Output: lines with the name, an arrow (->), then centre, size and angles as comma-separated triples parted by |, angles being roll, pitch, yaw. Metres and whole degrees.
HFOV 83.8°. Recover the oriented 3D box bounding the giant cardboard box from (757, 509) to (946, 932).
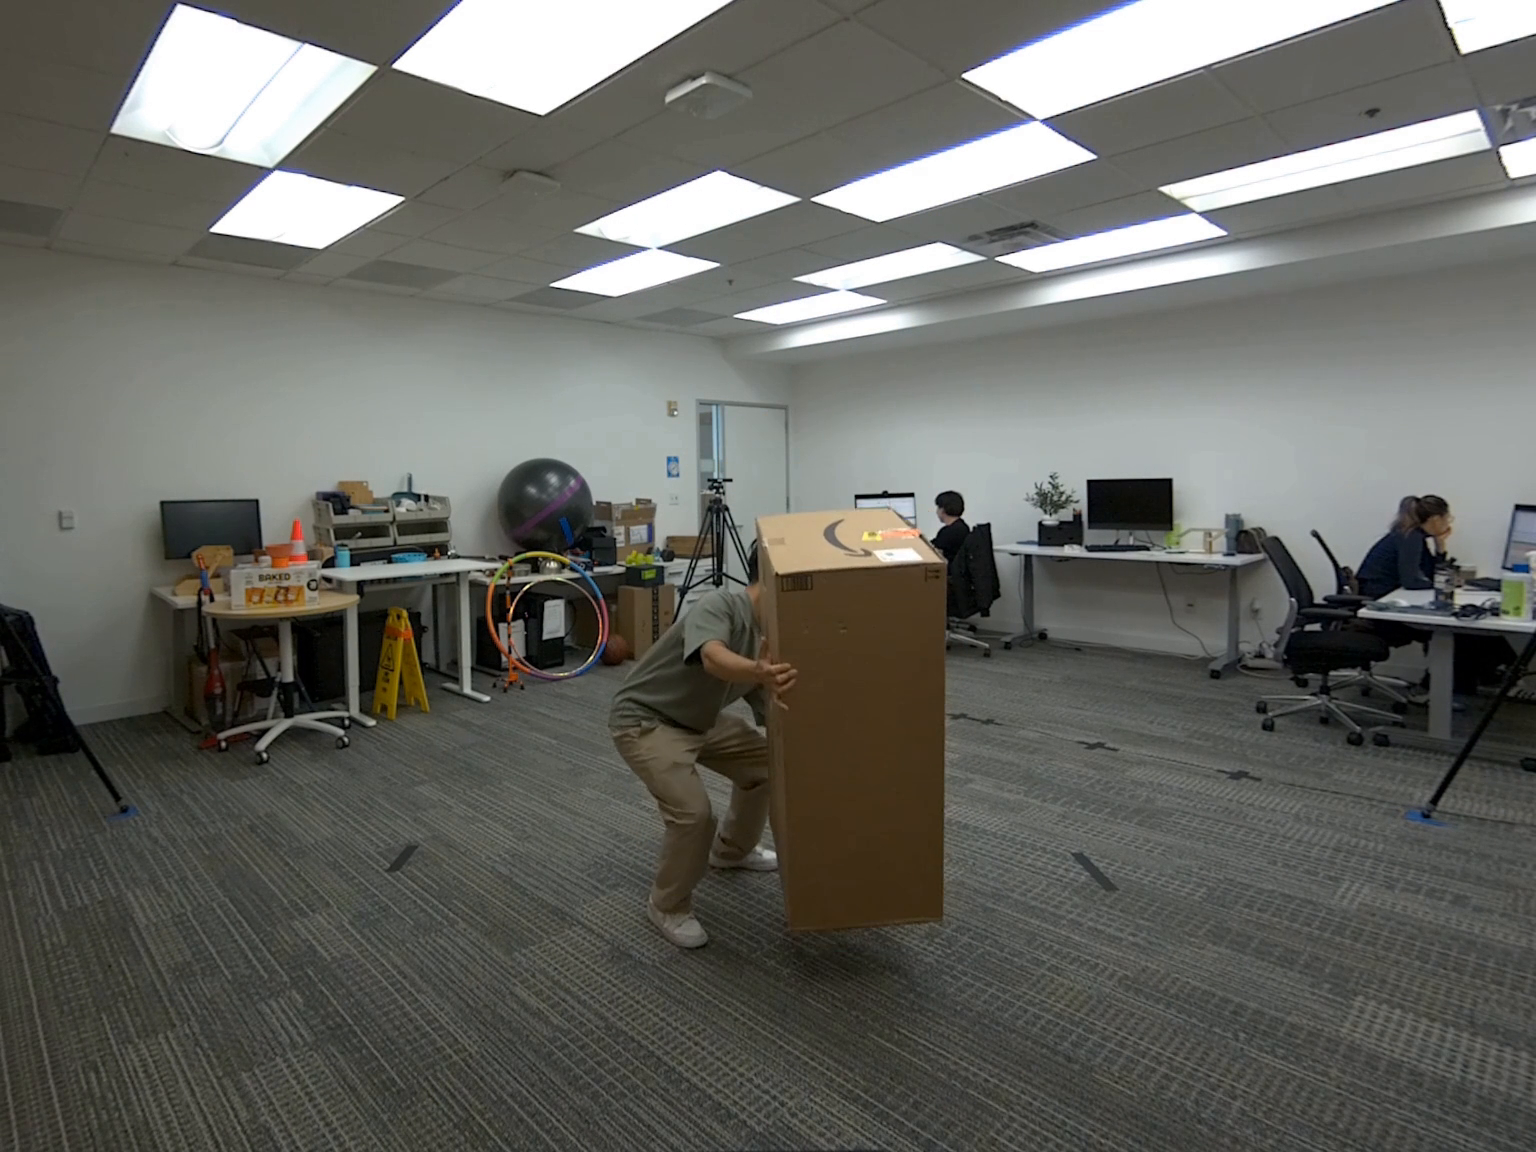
giant cardboard box -> 0.224, 0.374, 2.453 | 0.425, 1.011, 0.587 | -5, 15, -3
